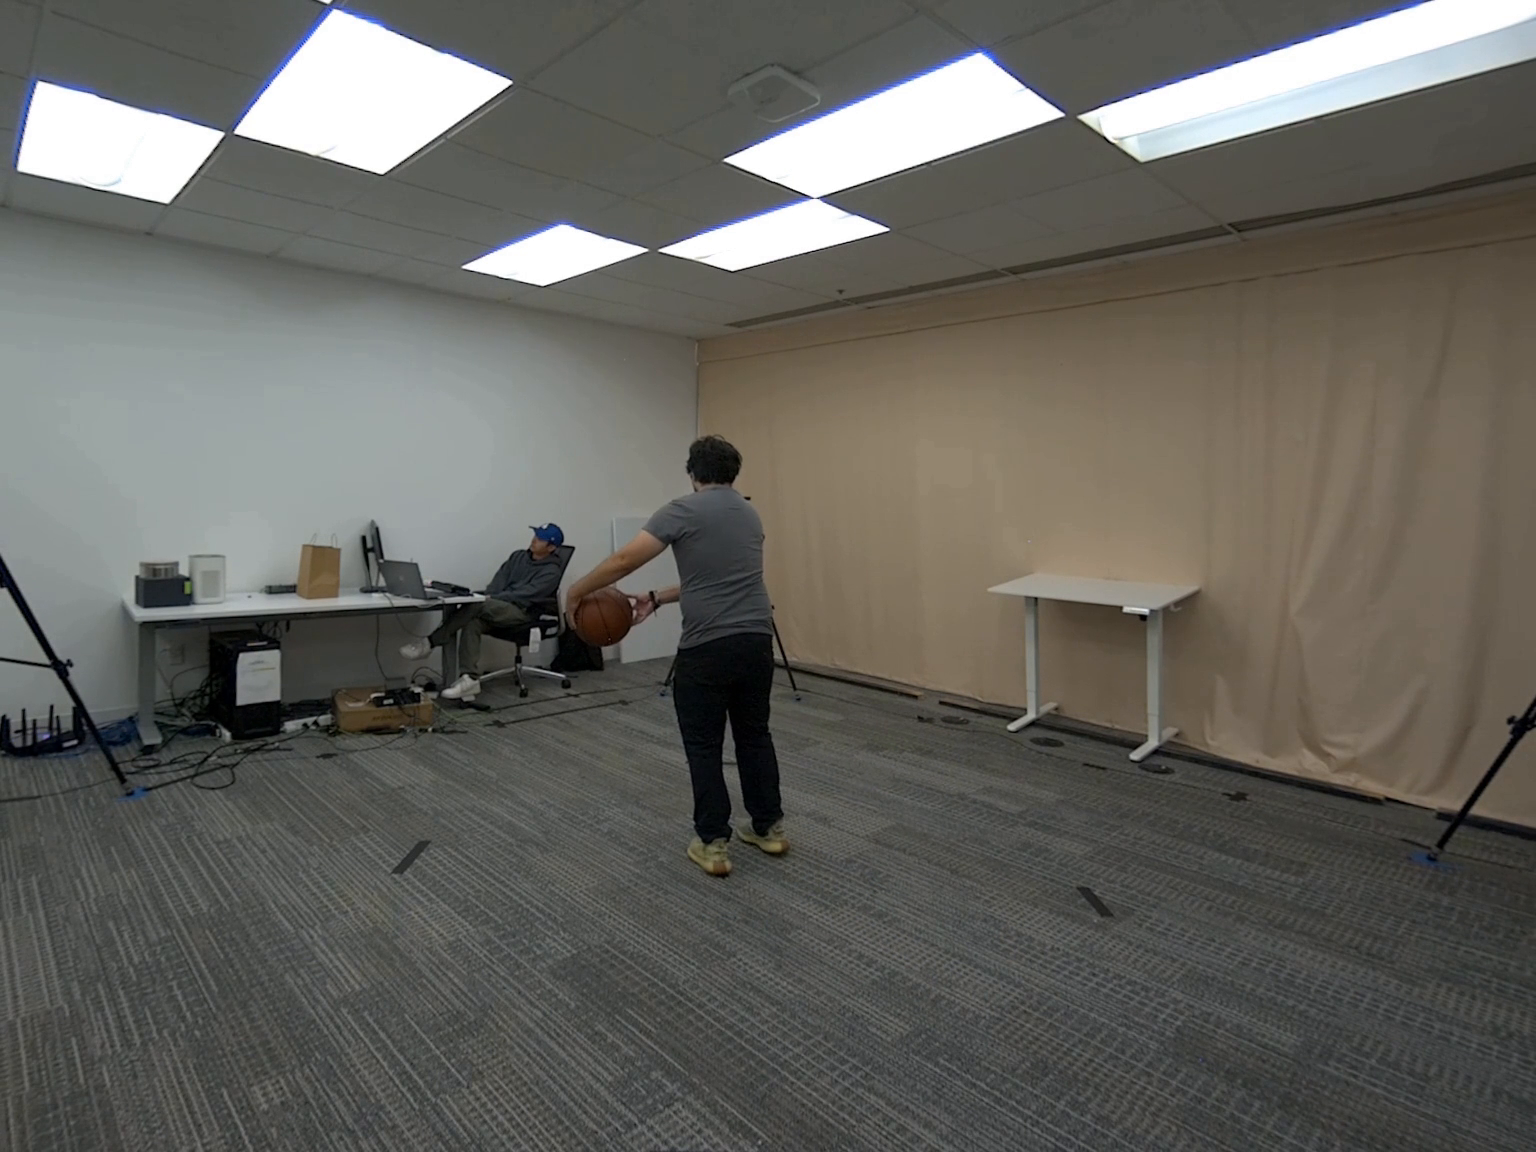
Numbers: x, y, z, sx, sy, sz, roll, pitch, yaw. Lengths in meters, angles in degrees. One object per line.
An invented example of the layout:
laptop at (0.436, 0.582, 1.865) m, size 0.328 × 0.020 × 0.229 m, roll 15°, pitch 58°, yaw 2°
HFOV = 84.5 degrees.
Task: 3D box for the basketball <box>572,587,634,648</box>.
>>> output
basketball at (-0.643, 0.158, 3.288) m, size 0.236 × 0.235 × 0.237 m, roll 1°, pitch 4°, yaw -1°
